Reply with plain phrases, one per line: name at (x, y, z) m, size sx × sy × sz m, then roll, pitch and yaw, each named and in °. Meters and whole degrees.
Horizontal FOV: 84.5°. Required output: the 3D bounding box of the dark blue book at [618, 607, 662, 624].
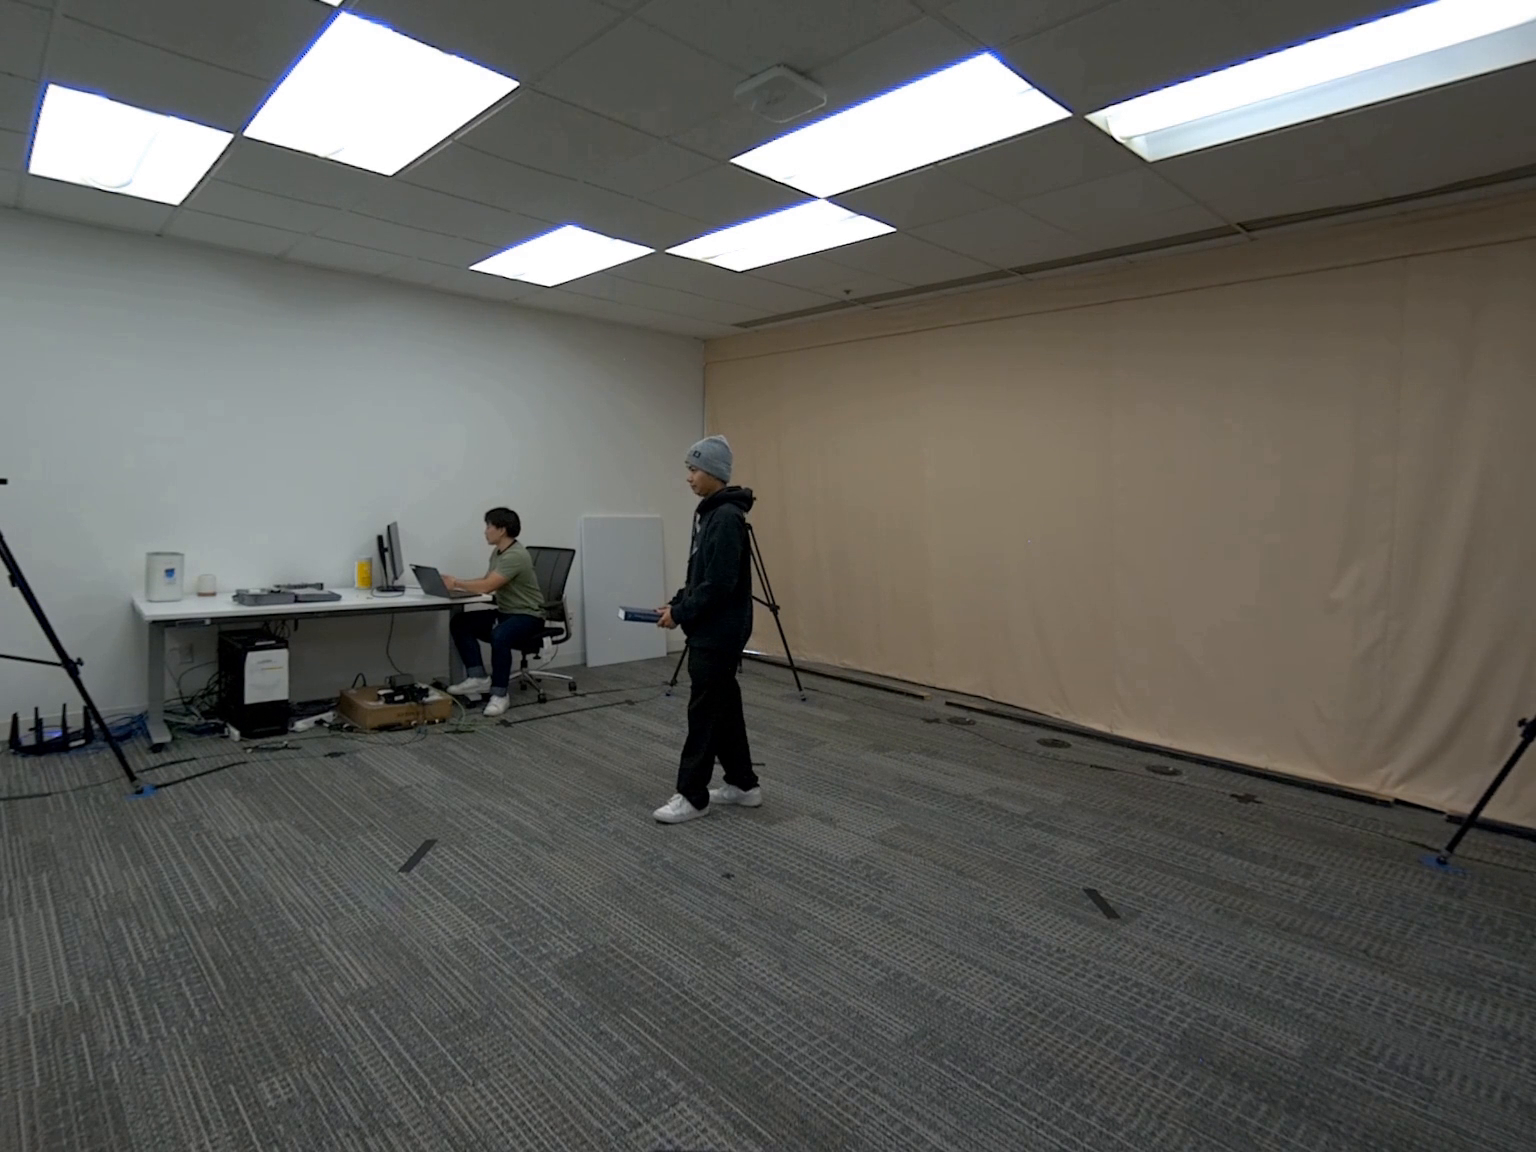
dark blue book at (-0.527, 0.171, 3.701) m, size 0.243 × 0.045 × 0.165 m, roll 5°, pitch 4°, yaw -12°
